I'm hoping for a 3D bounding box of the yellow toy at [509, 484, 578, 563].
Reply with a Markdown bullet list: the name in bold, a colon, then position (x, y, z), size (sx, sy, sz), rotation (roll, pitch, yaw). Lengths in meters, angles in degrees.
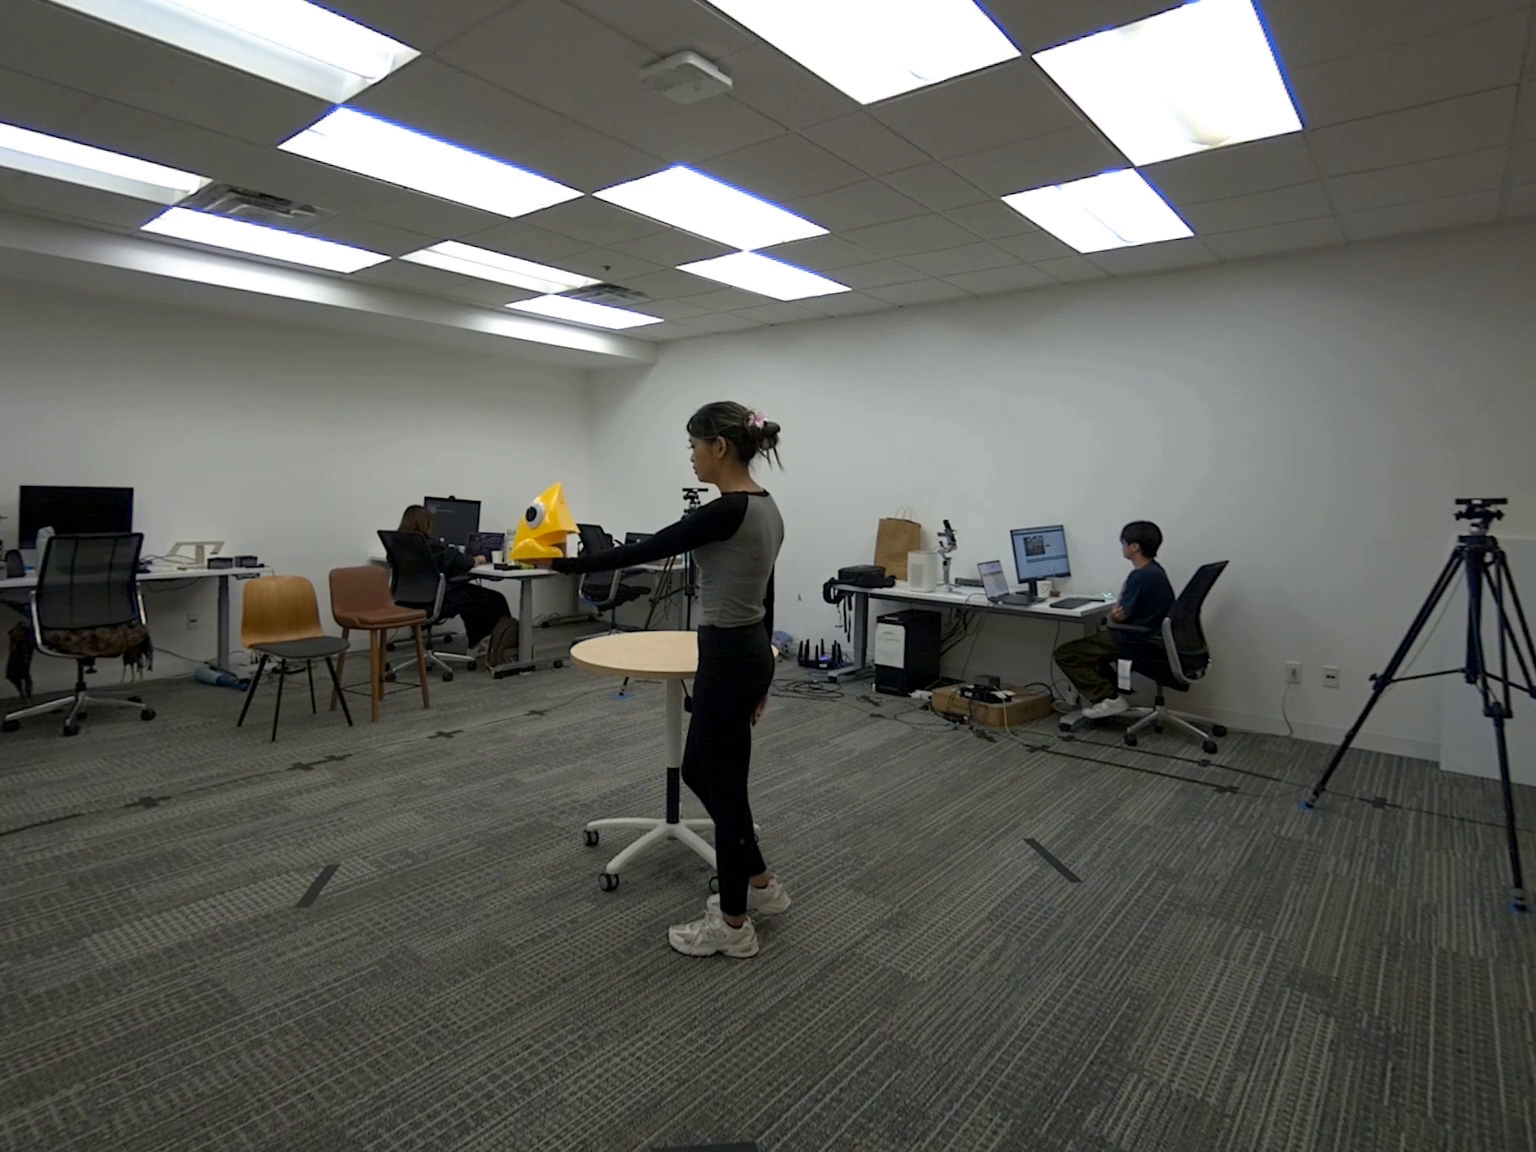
- **yellow toy**: position (-0.697, -0.170, 2.583), size (0.194, 0.231, 0.203), rotation (-2, -1, 4)
